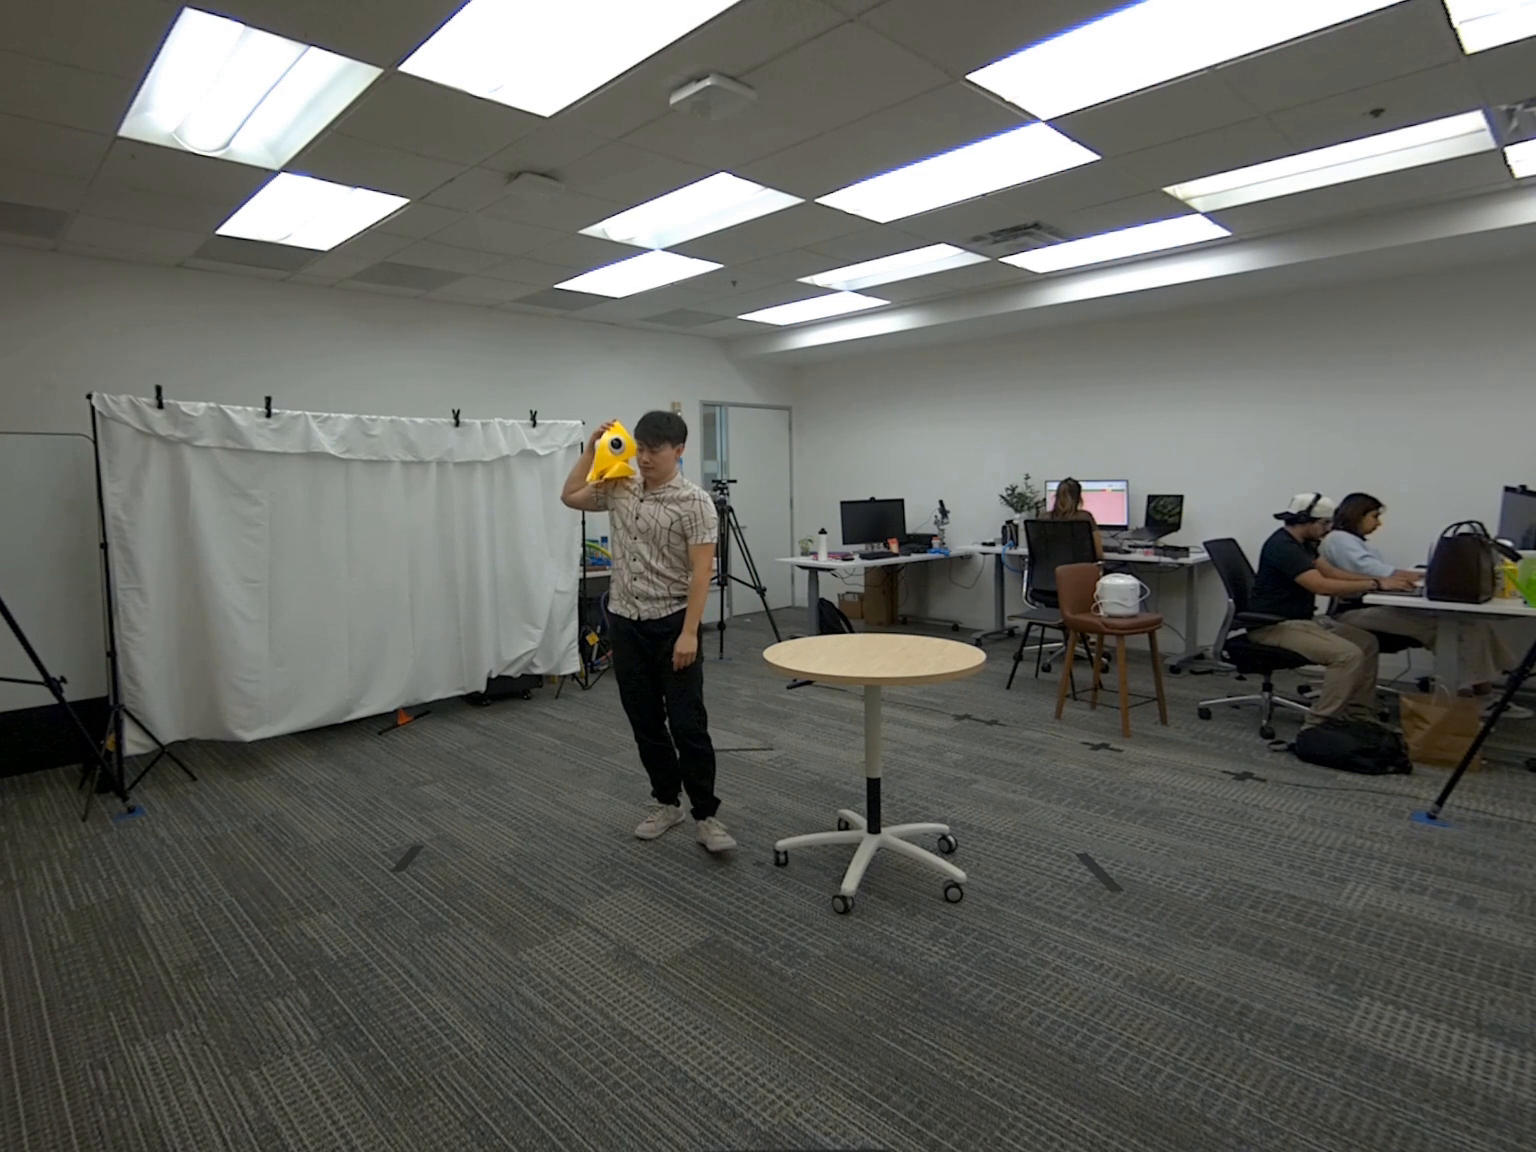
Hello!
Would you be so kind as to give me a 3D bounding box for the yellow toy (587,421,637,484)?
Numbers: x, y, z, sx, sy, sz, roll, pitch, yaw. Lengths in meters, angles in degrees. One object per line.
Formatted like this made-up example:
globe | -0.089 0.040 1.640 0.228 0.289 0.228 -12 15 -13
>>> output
yellow toy | -0.632 -0.508 3.440 0.210 0.230 0.189 -5 5 44
